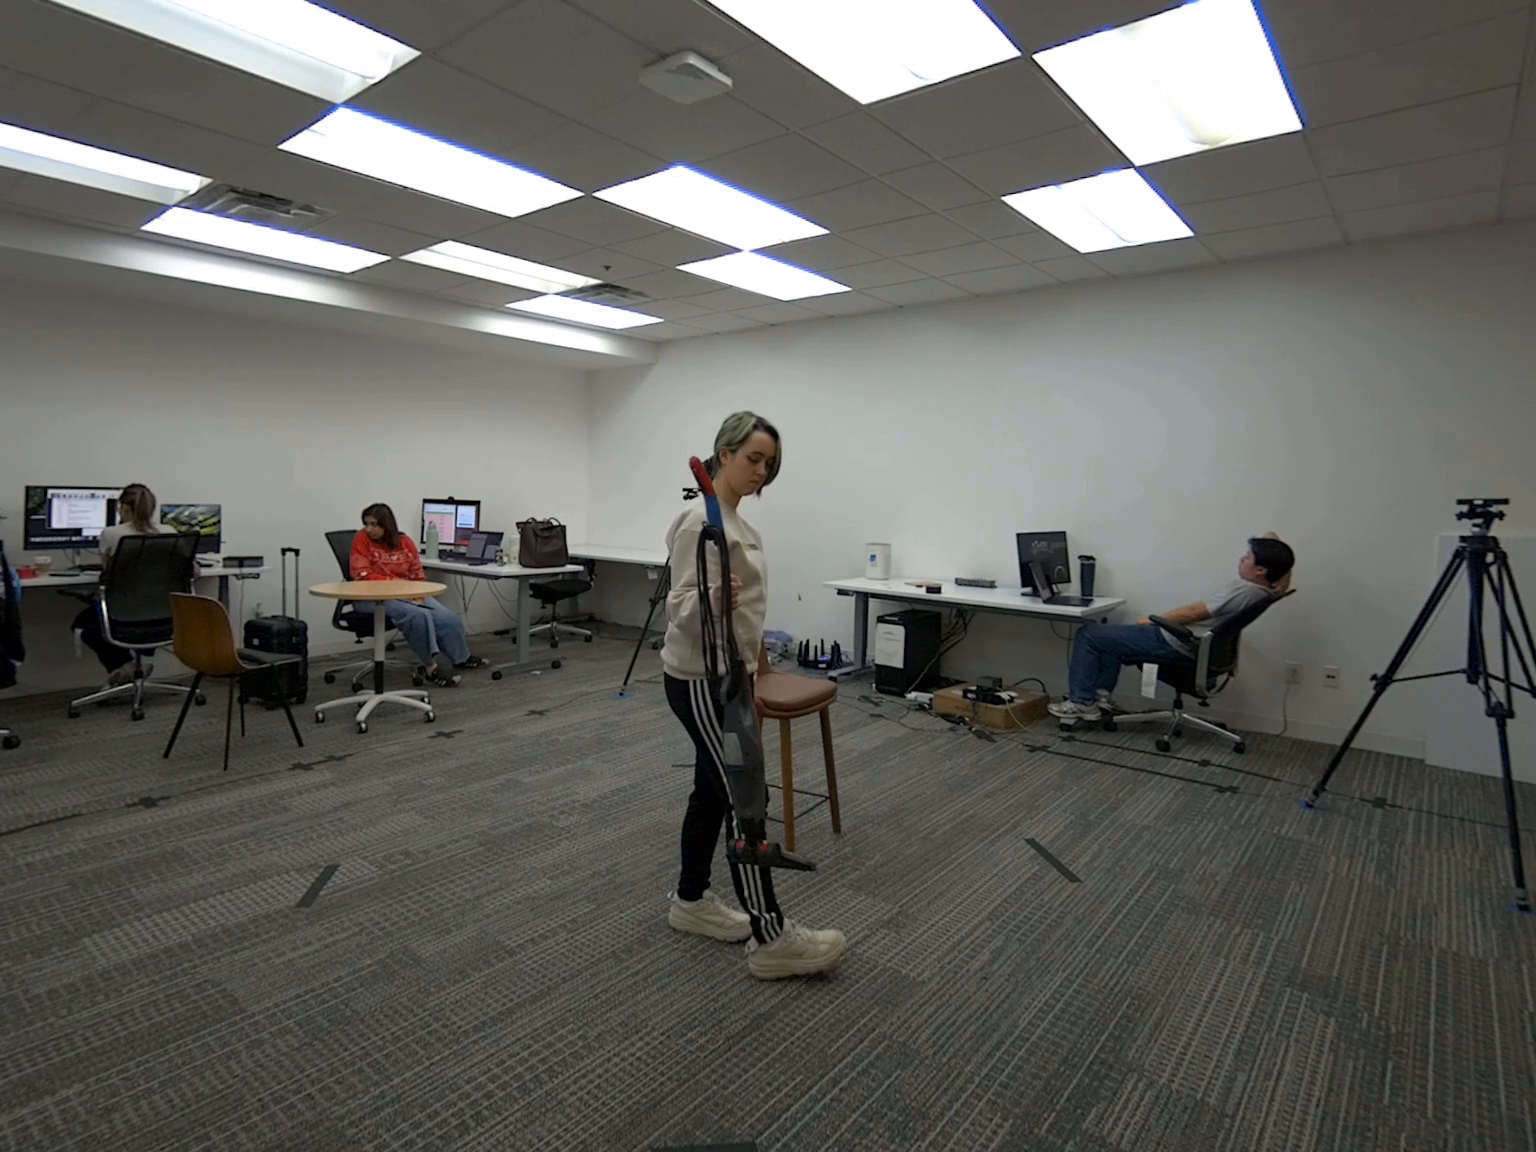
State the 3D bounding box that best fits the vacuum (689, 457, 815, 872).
[{"bbox_3d":[-0.107,0.222,2.171,0.257,1.043,0.142,-7,5,21],"label":"vacuum"}]
